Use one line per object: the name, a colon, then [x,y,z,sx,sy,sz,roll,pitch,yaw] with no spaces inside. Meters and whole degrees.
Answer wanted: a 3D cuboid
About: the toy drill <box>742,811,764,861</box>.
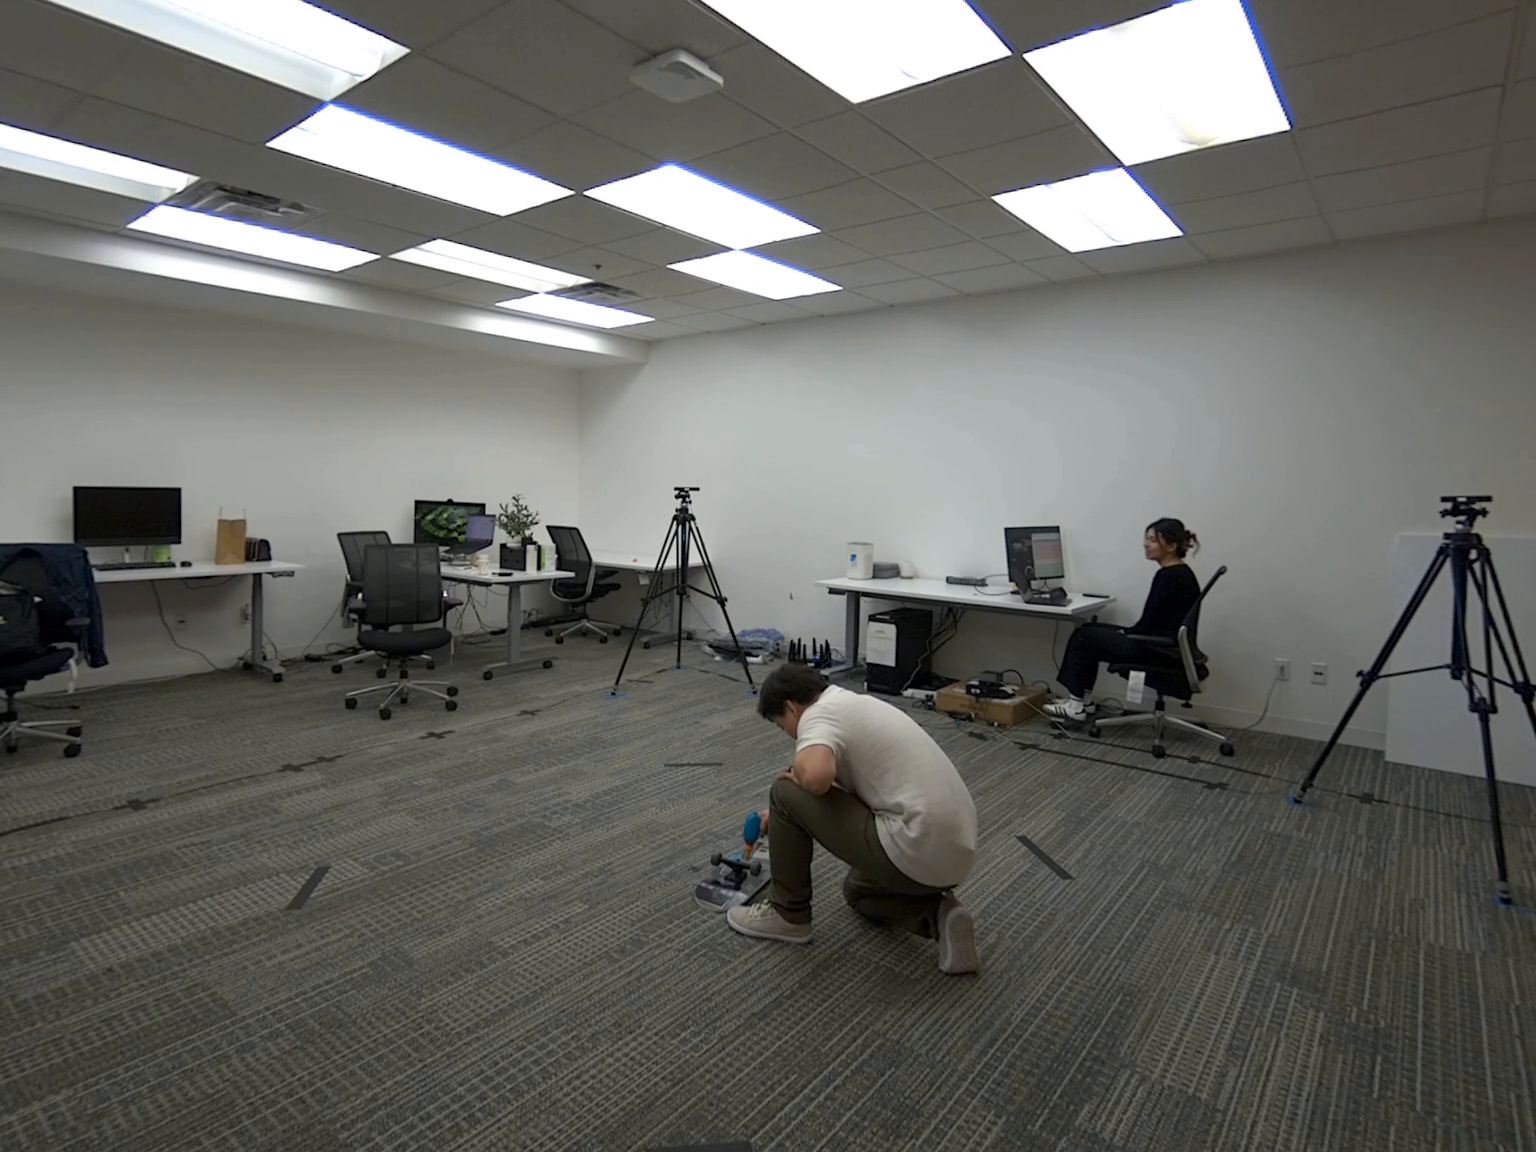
toy drill: [-0.028,0.923,3.007,0.145,0.171,0.061,9,-8,-6]
